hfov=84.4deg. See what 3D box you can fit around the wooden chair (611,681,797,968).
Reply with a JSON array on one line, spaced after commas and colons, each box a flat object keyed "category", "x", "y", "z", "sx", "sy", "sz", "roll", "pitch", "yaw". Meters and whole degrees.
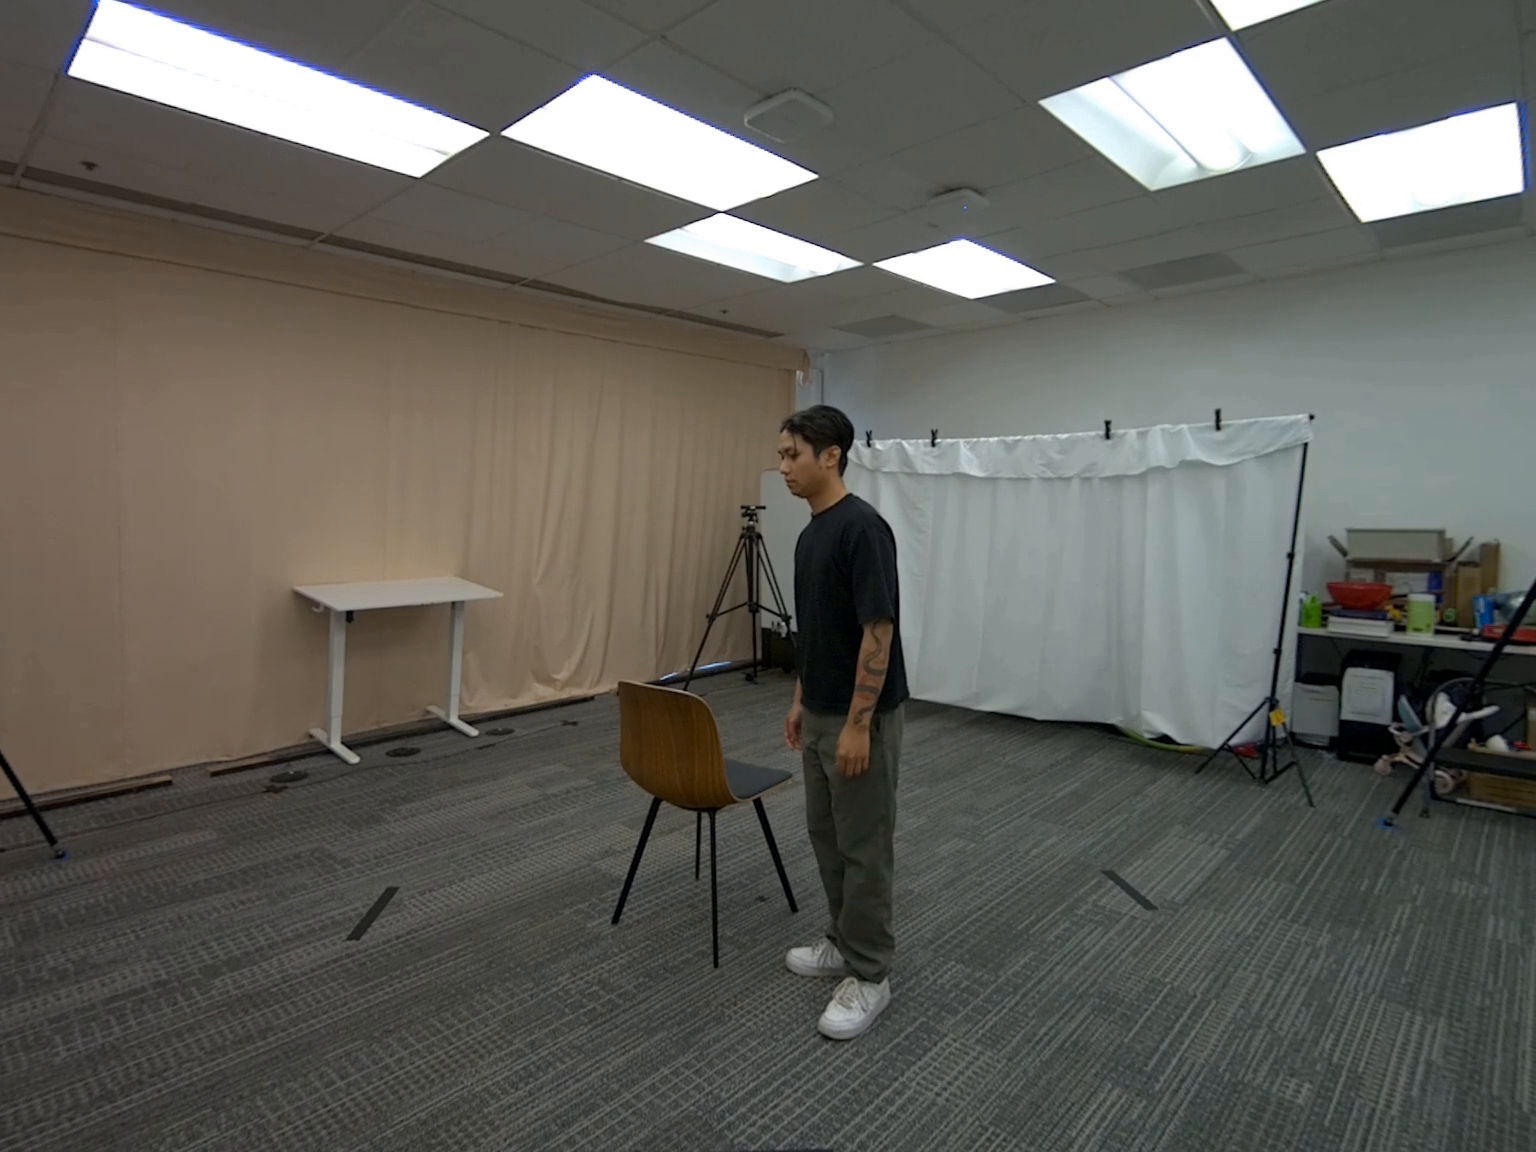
[{"category": "wooden chair", "x": -0.207, "y": 0.730, "z": 2.827, "sx": 0.493, "sy": 0.873, "sz": 0.509, "roll": 2, "pitch": 8, "yaw": 36}]
